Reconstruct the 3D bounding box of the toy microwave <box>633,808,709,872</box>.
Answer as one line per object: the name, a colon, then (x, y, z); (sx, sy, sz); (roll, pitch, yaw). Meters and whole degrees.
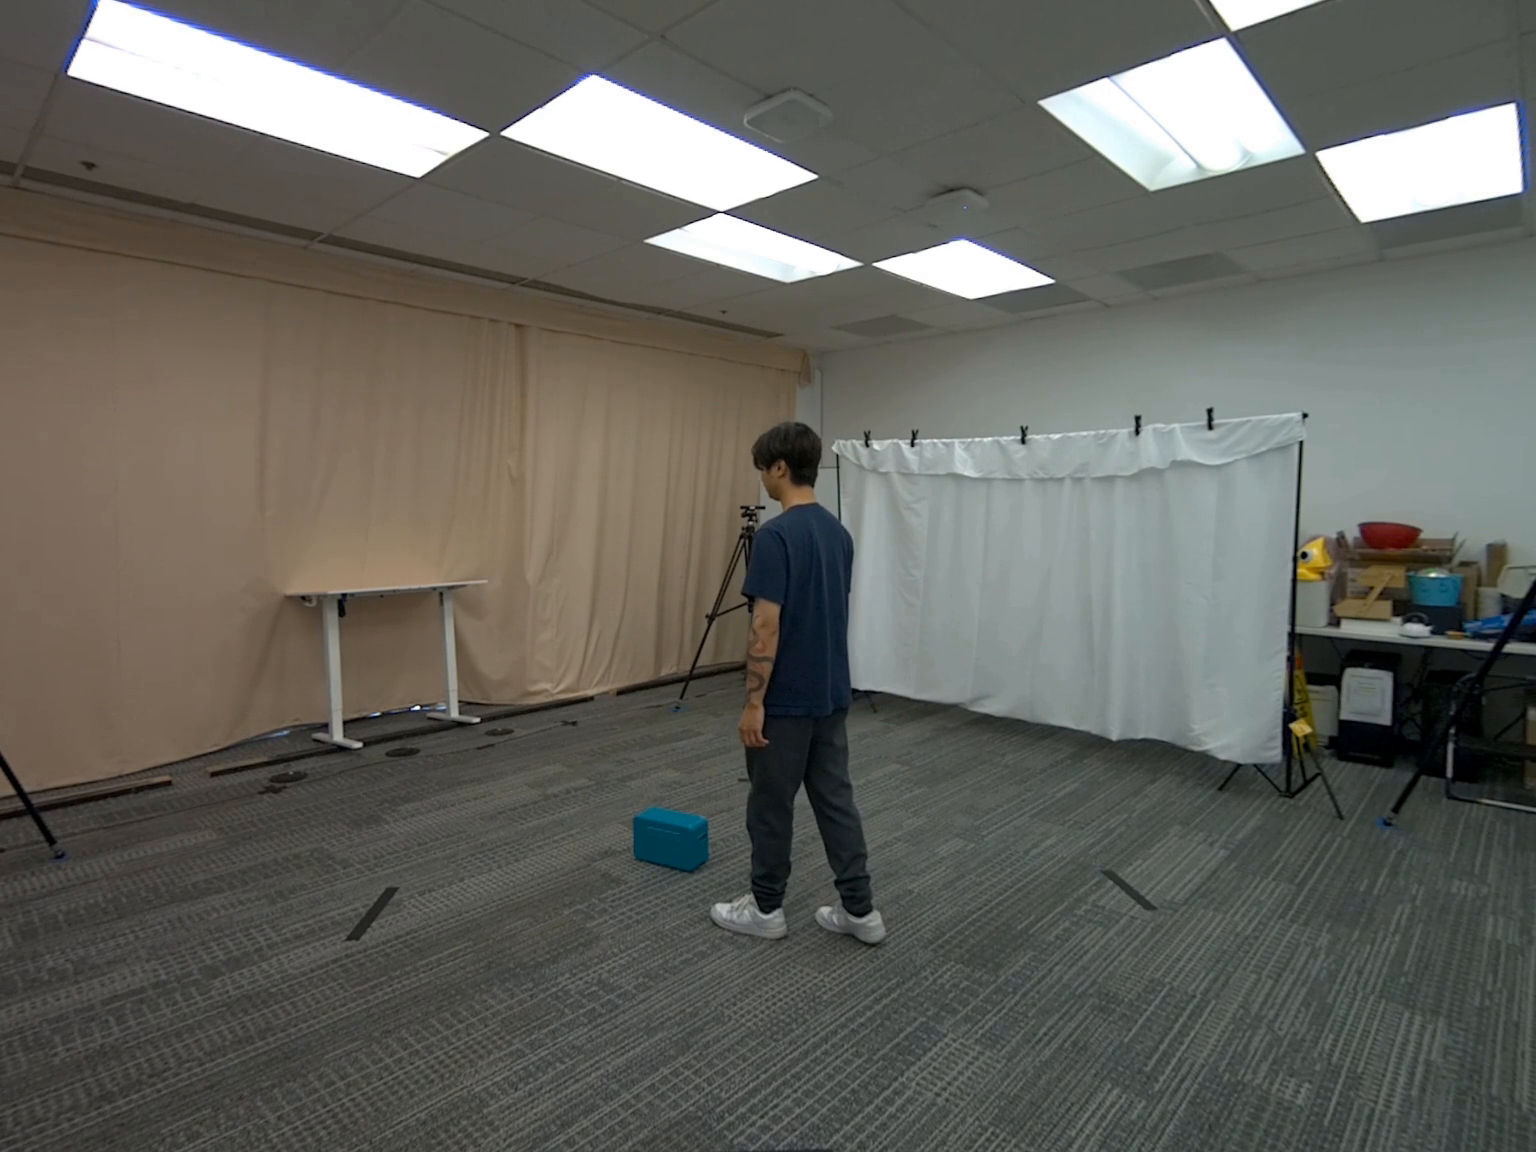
toy microwave: (-0.375, 1.027, 3.308); (0.294, 0.184, 0.148); (1, 4, 29)
